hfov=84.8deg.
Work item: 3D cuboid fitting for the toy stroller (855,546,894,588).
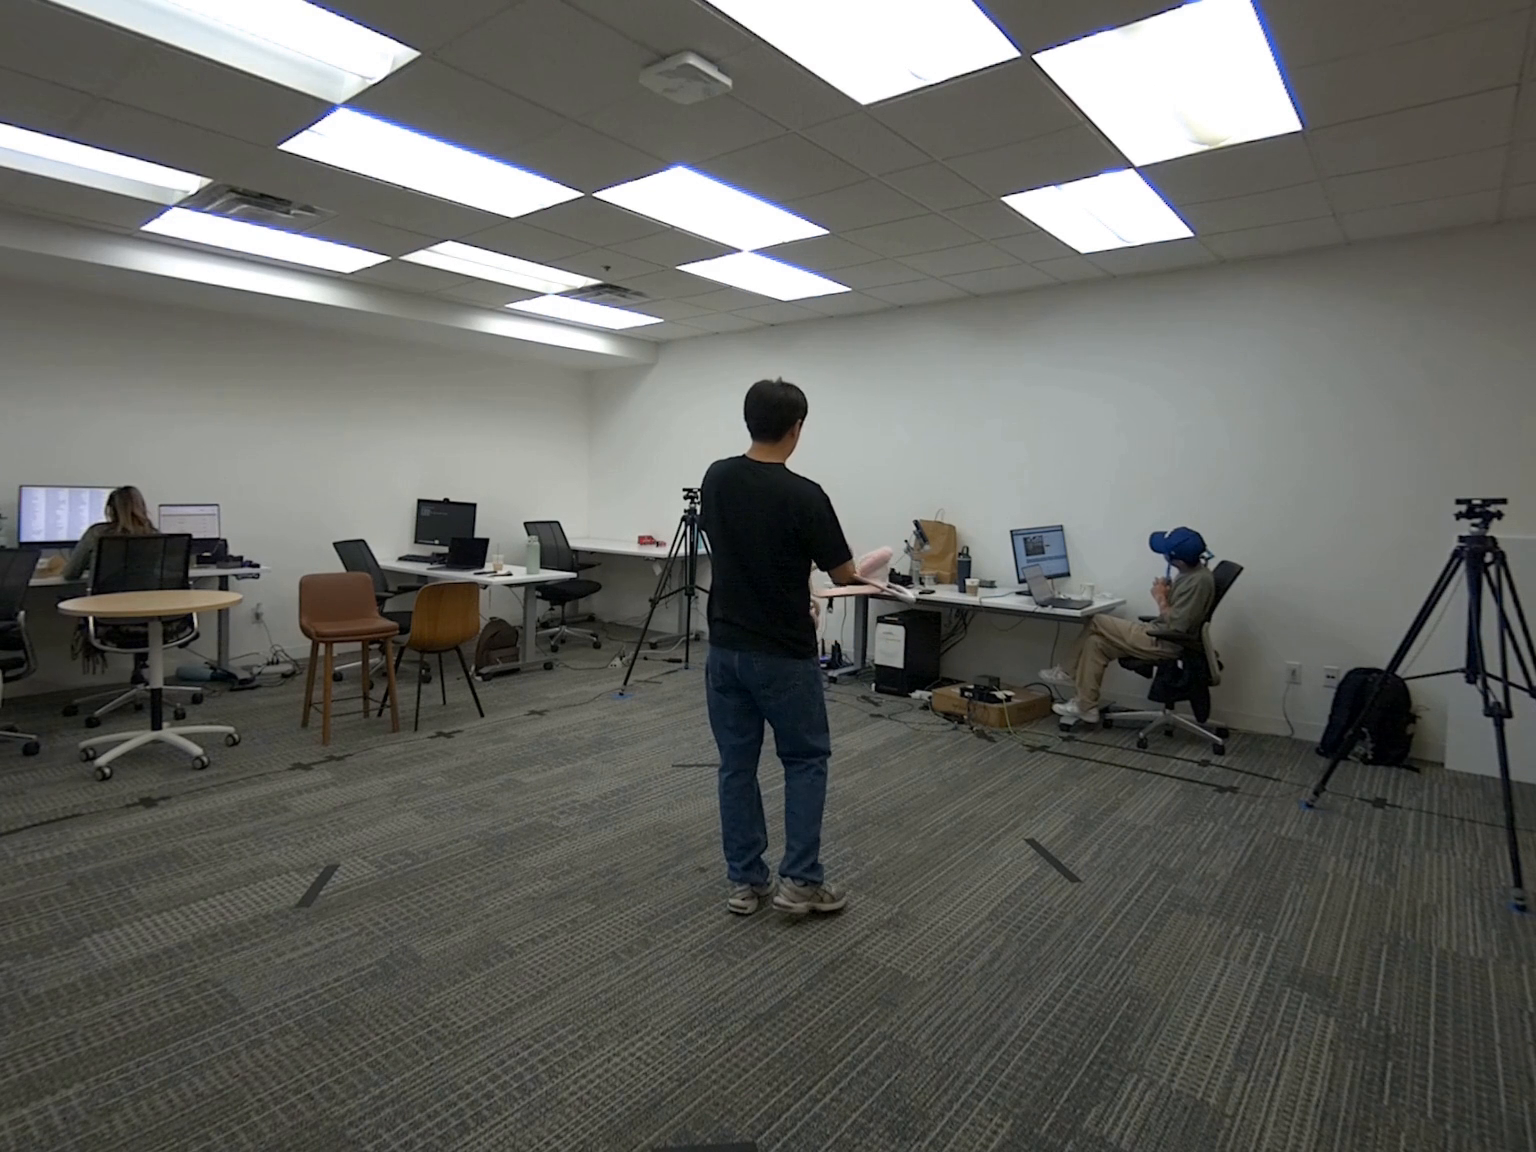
[{"bbox_3d":[0.236,0.005,3.246,0.540,0.342,0.278,-17,-1,12],"label":"toy stroller"}]
